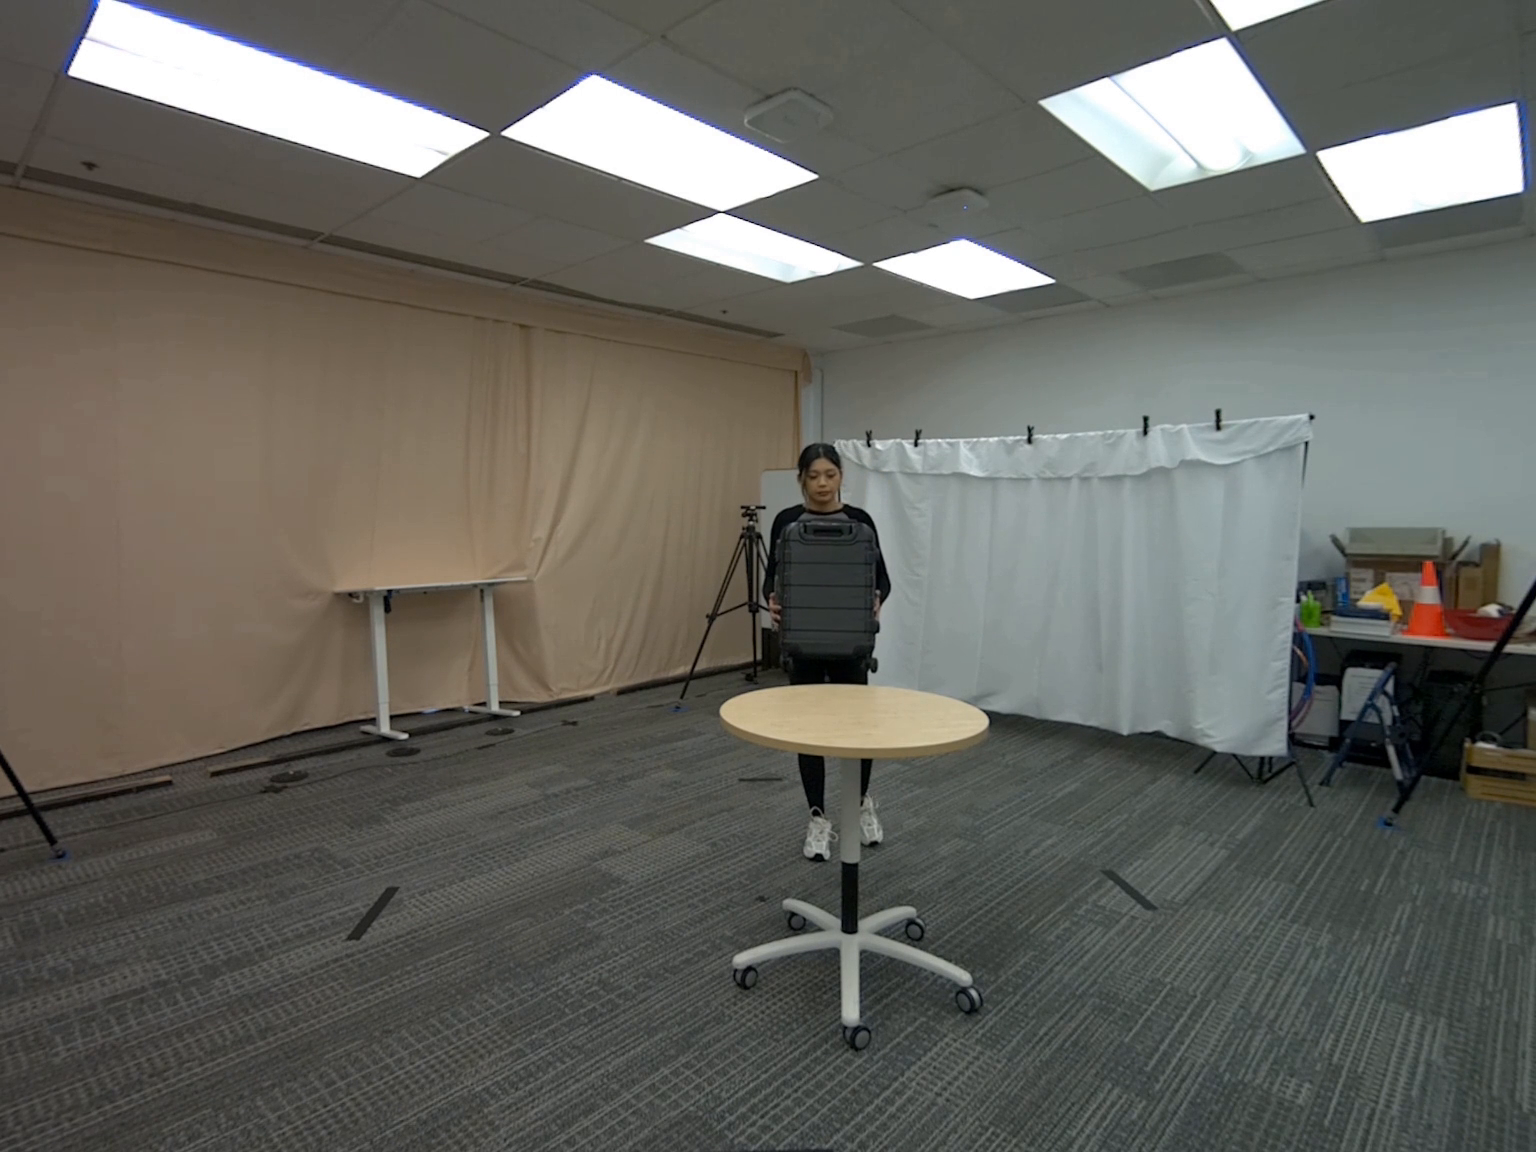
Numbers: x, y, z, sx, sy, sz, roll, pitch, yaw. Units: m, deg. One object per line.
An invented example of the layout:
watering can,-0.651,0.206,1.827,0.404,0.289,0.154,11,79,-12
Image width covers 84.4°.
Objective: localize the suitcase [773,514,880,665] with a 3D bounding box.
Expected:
suitcase,0.218,0.064,3.119,0.378,0.550,0.246,0,-3,5
